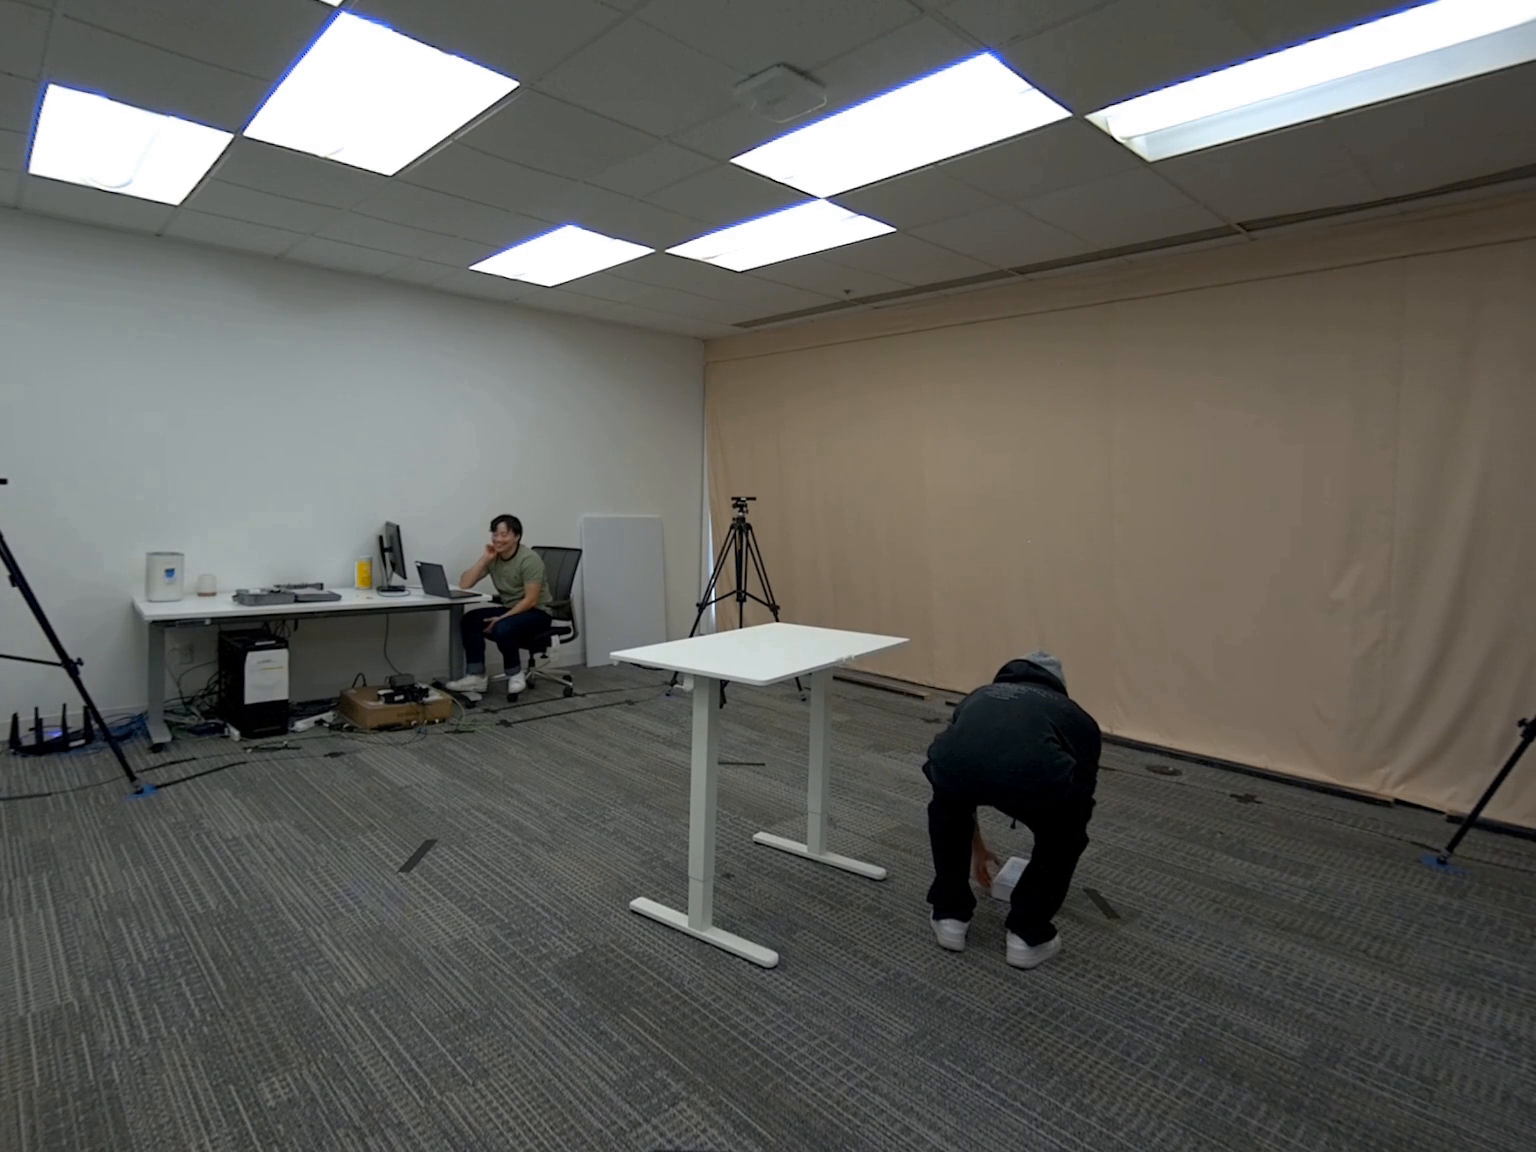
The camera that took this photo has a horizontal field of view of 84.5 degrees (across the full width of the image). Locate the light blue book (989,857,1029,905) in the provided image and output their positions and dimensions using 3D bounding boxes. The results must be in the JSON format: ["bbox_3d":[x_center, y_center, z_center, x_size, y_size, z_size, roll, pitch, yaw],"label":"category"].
[{"bbox_3d":[0.934,1.113,3.054,0.196,0.059,0.256,6,6,31],"label":"light blue book"}]
